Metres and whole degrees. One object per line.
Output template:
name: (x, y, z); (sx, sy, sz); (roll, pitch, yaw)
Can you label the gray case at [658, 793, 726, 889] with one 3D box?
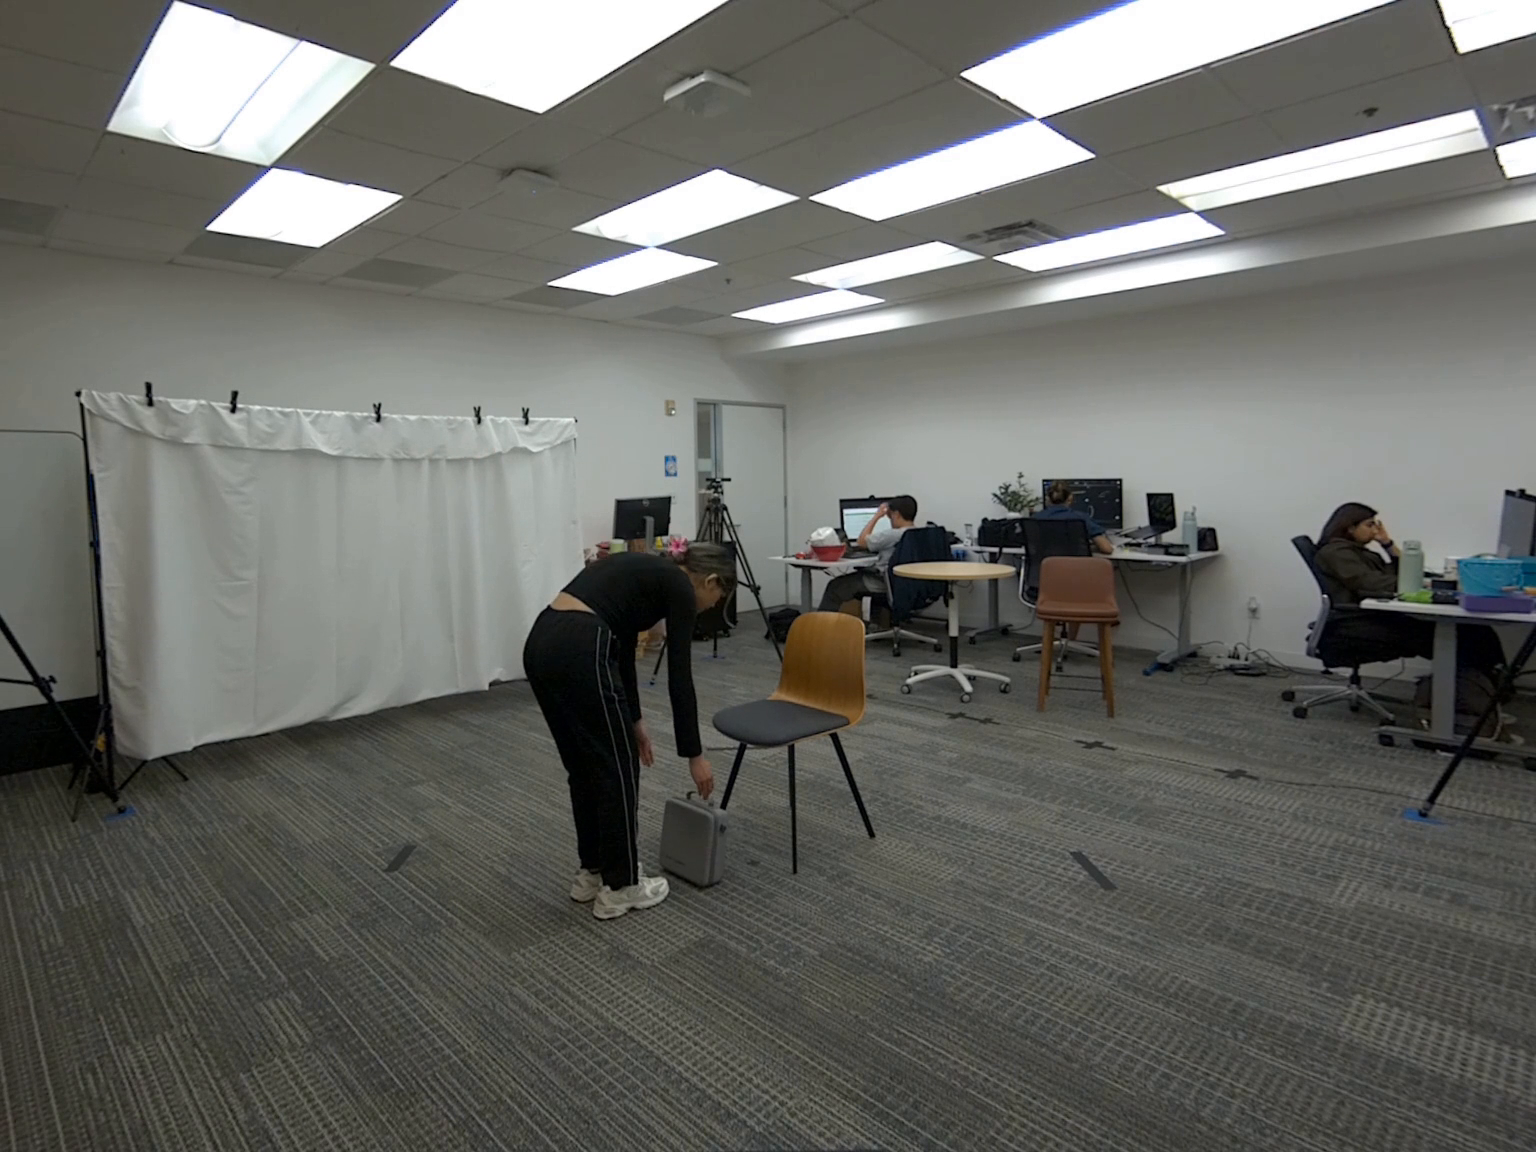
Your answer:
gray case: (-0.261, 0.924, 3.017); (0.101, 0.261, 0.265); (10, -3, -45)
